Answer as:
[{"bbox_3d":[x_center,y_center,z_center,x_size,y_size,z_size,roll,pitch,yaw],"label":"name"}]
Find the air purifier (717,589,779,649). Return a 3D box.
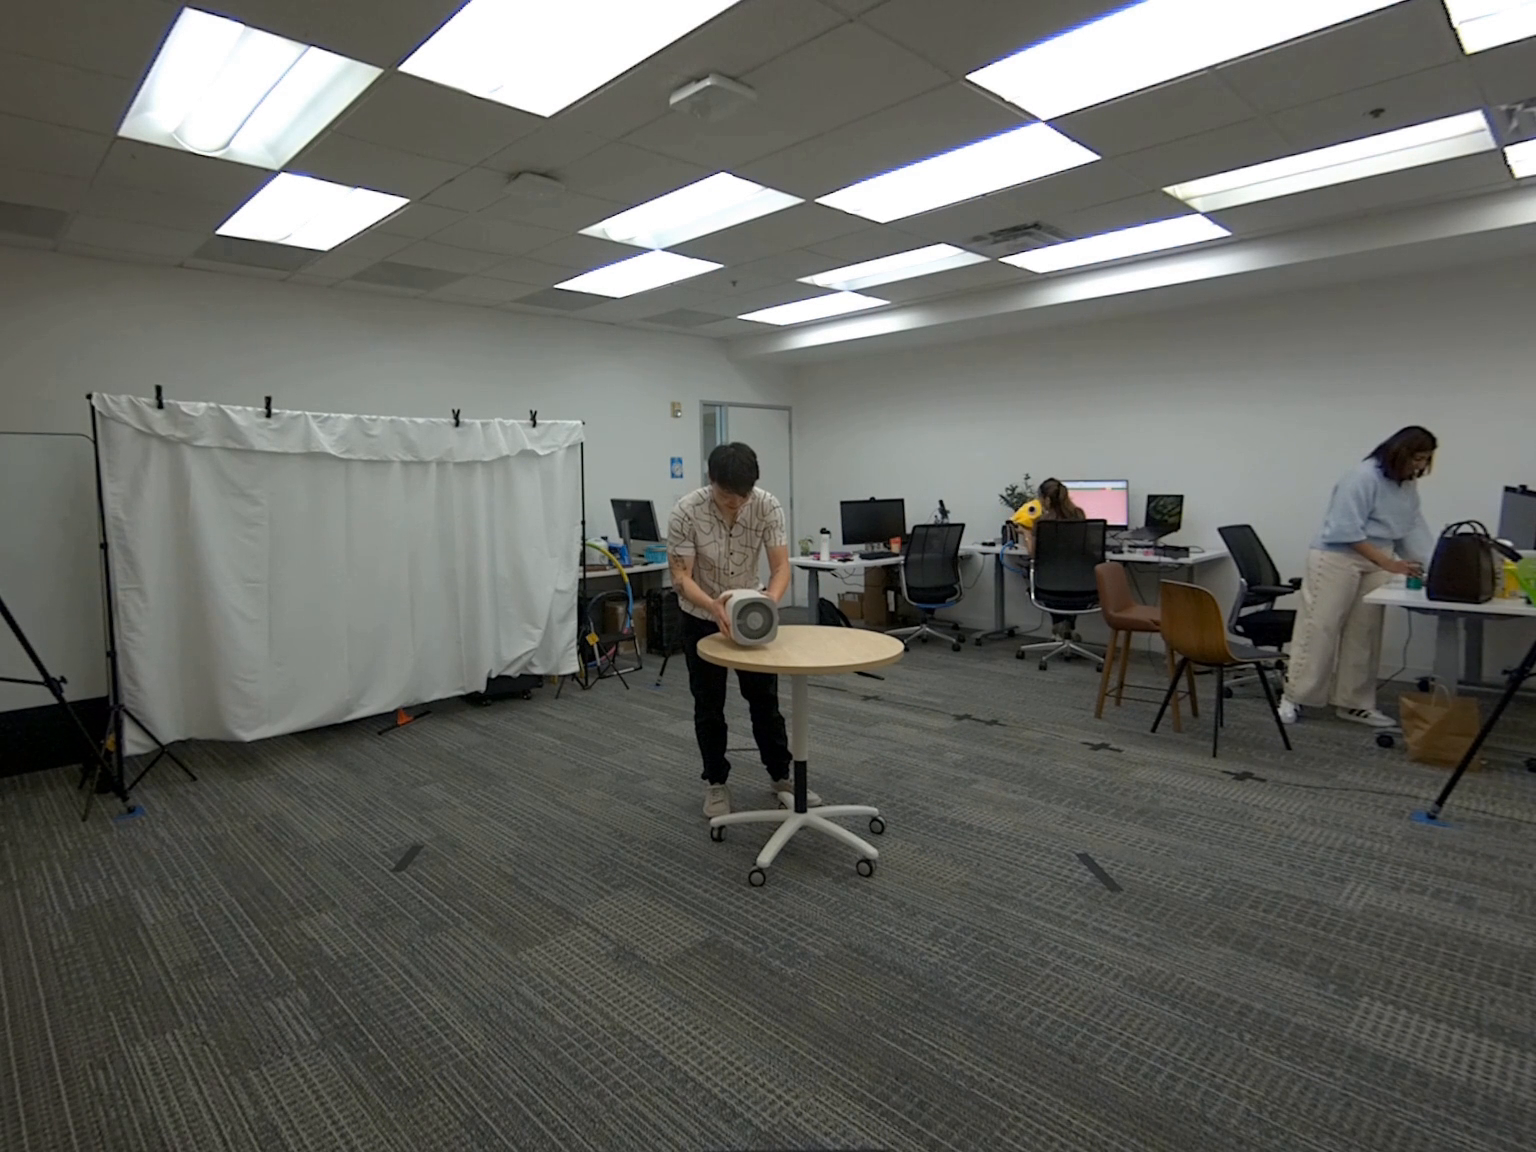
[{"bbox_3d":[-0.078,0.153,3.184,0.170,0.170,0.269,-4,5,-12],"label":"air purifier"}]
